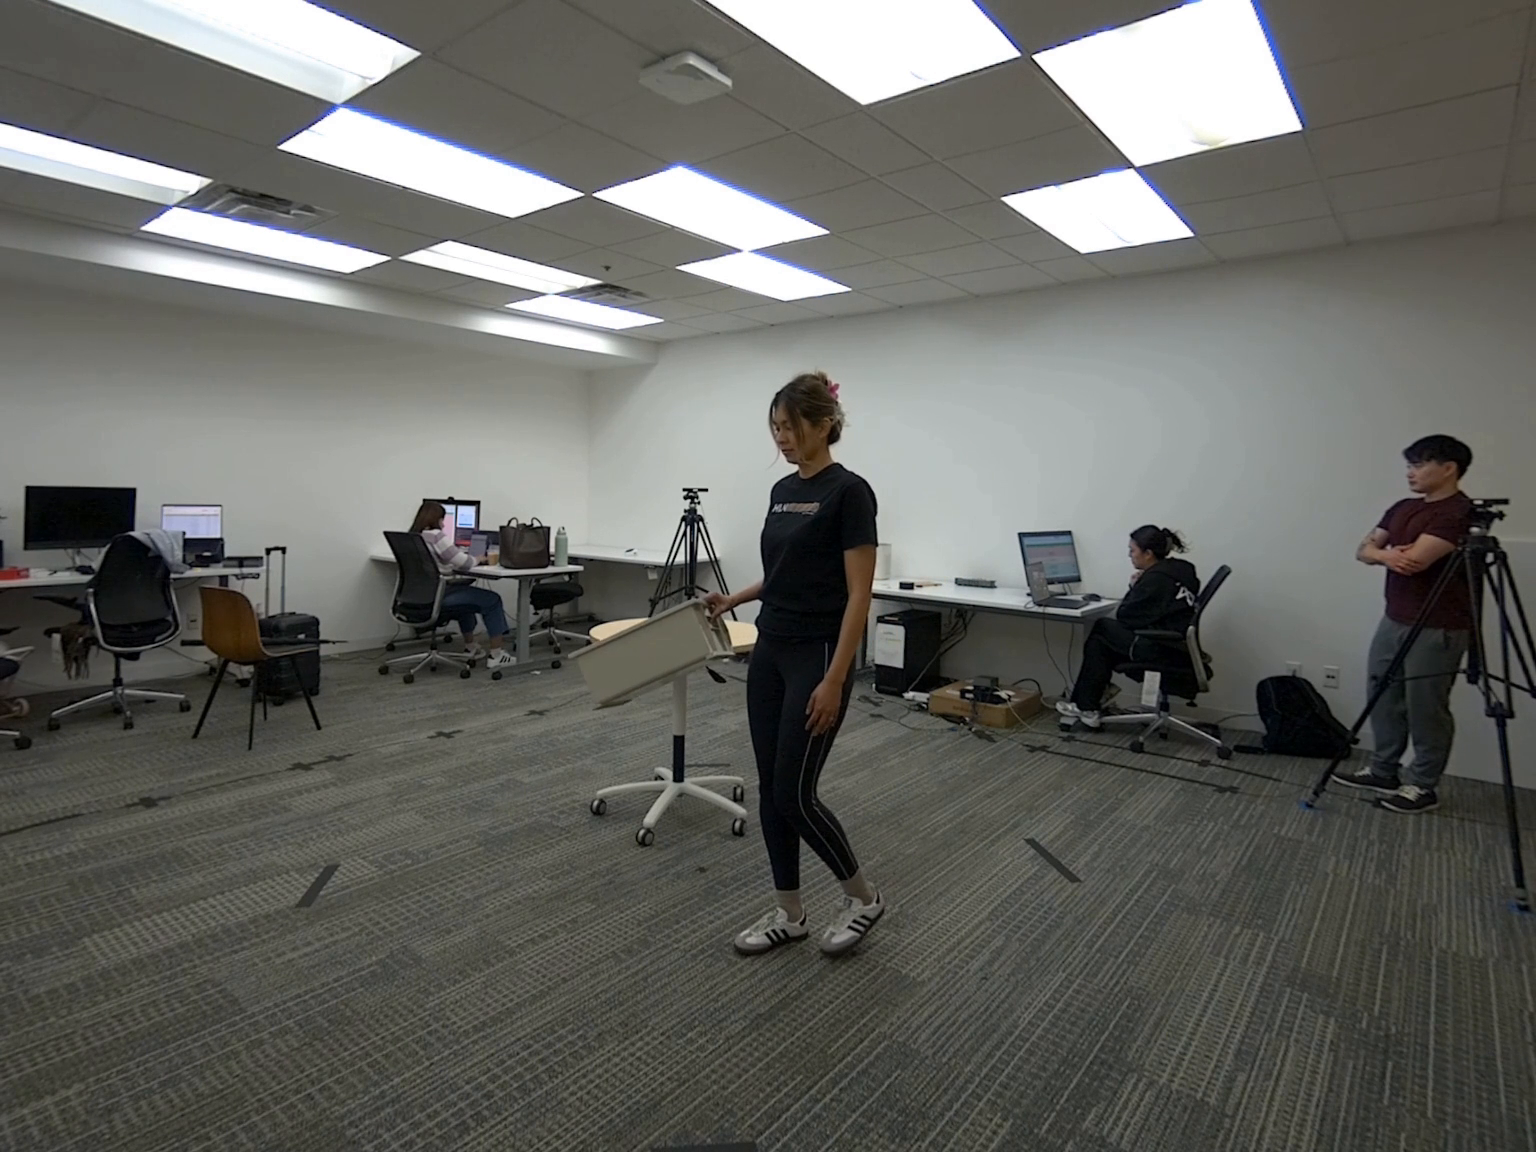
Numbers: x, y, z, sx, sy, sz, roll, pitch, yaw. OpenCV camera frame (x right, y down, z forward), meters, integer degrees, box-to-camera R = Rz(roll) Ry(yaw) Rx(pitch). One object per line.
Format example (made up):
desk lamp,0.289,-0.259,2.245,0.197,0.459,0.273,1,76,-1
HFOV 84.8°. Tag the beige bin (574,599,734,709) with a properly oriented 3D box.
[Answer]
beige bin,-0.354,0.252,2.680,0.424,0.192,0.370,-23,-9,7
